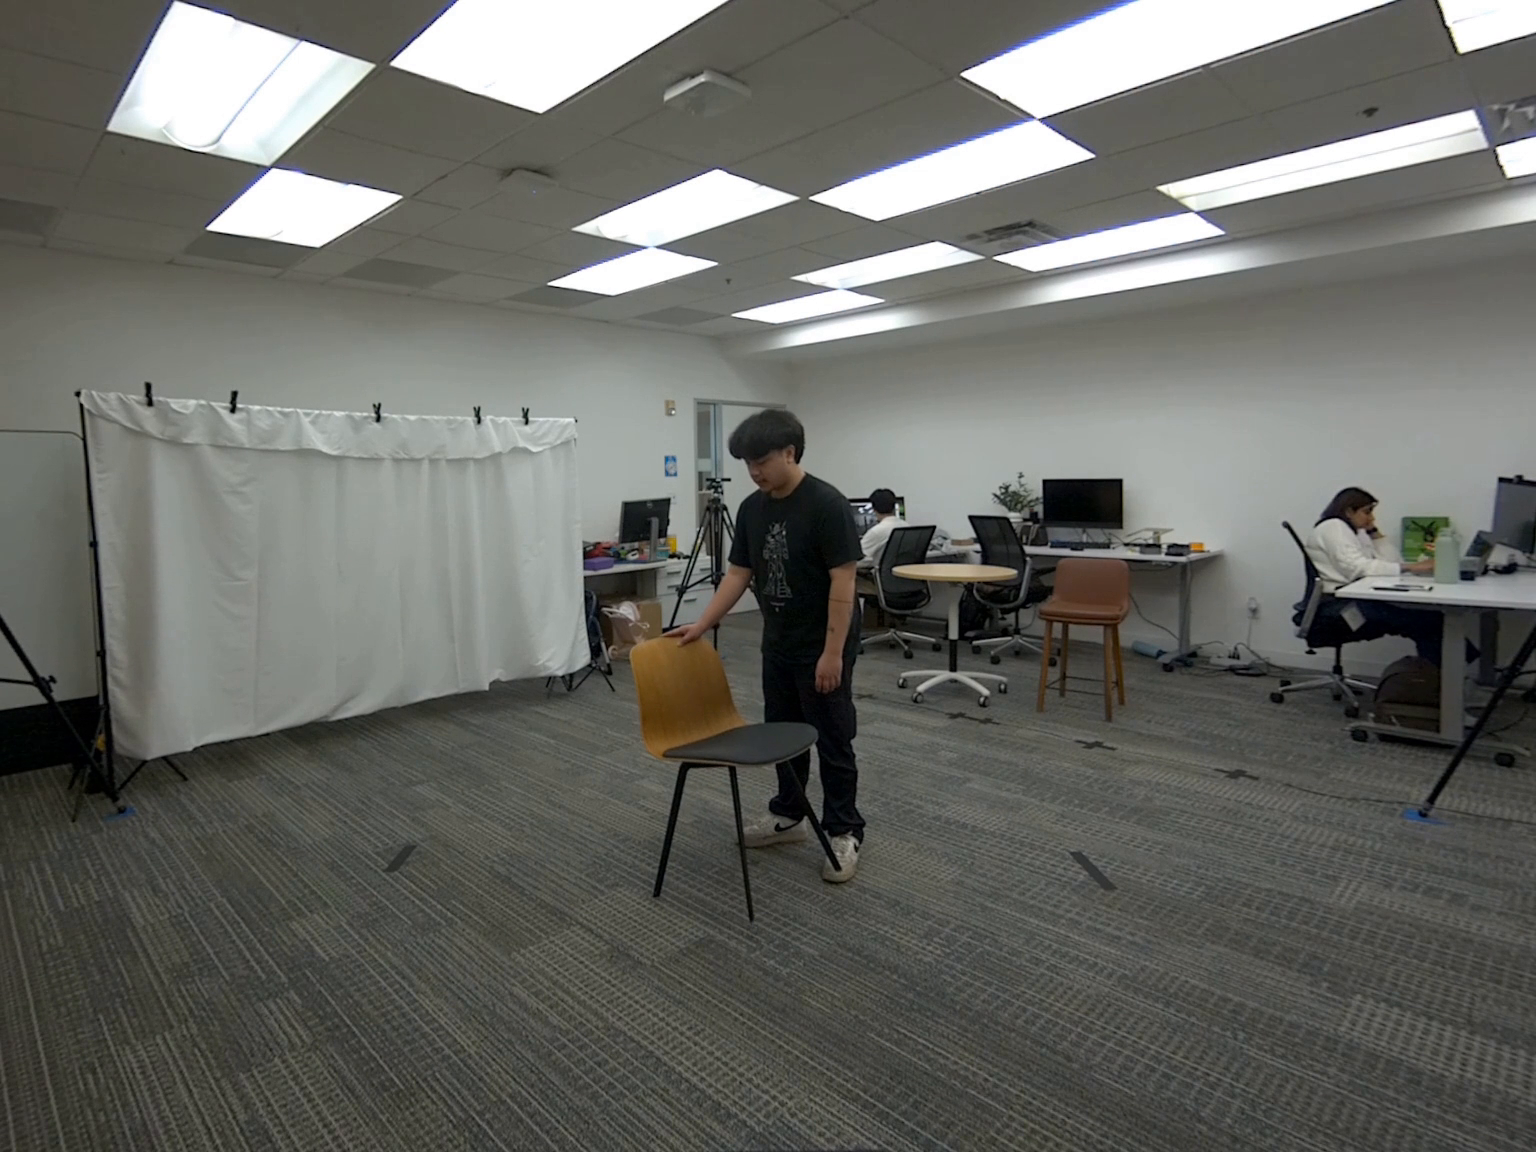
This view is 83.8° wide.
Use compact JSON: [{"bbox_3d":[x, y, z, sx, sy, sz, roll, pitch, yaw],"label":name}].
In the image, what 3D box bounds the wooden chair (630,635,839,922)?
[{"bbox_3d":[-0.126,0.609,2.872,0.533,0.884,0.465,-17,-8,42],"label":"wooden chair"}]
